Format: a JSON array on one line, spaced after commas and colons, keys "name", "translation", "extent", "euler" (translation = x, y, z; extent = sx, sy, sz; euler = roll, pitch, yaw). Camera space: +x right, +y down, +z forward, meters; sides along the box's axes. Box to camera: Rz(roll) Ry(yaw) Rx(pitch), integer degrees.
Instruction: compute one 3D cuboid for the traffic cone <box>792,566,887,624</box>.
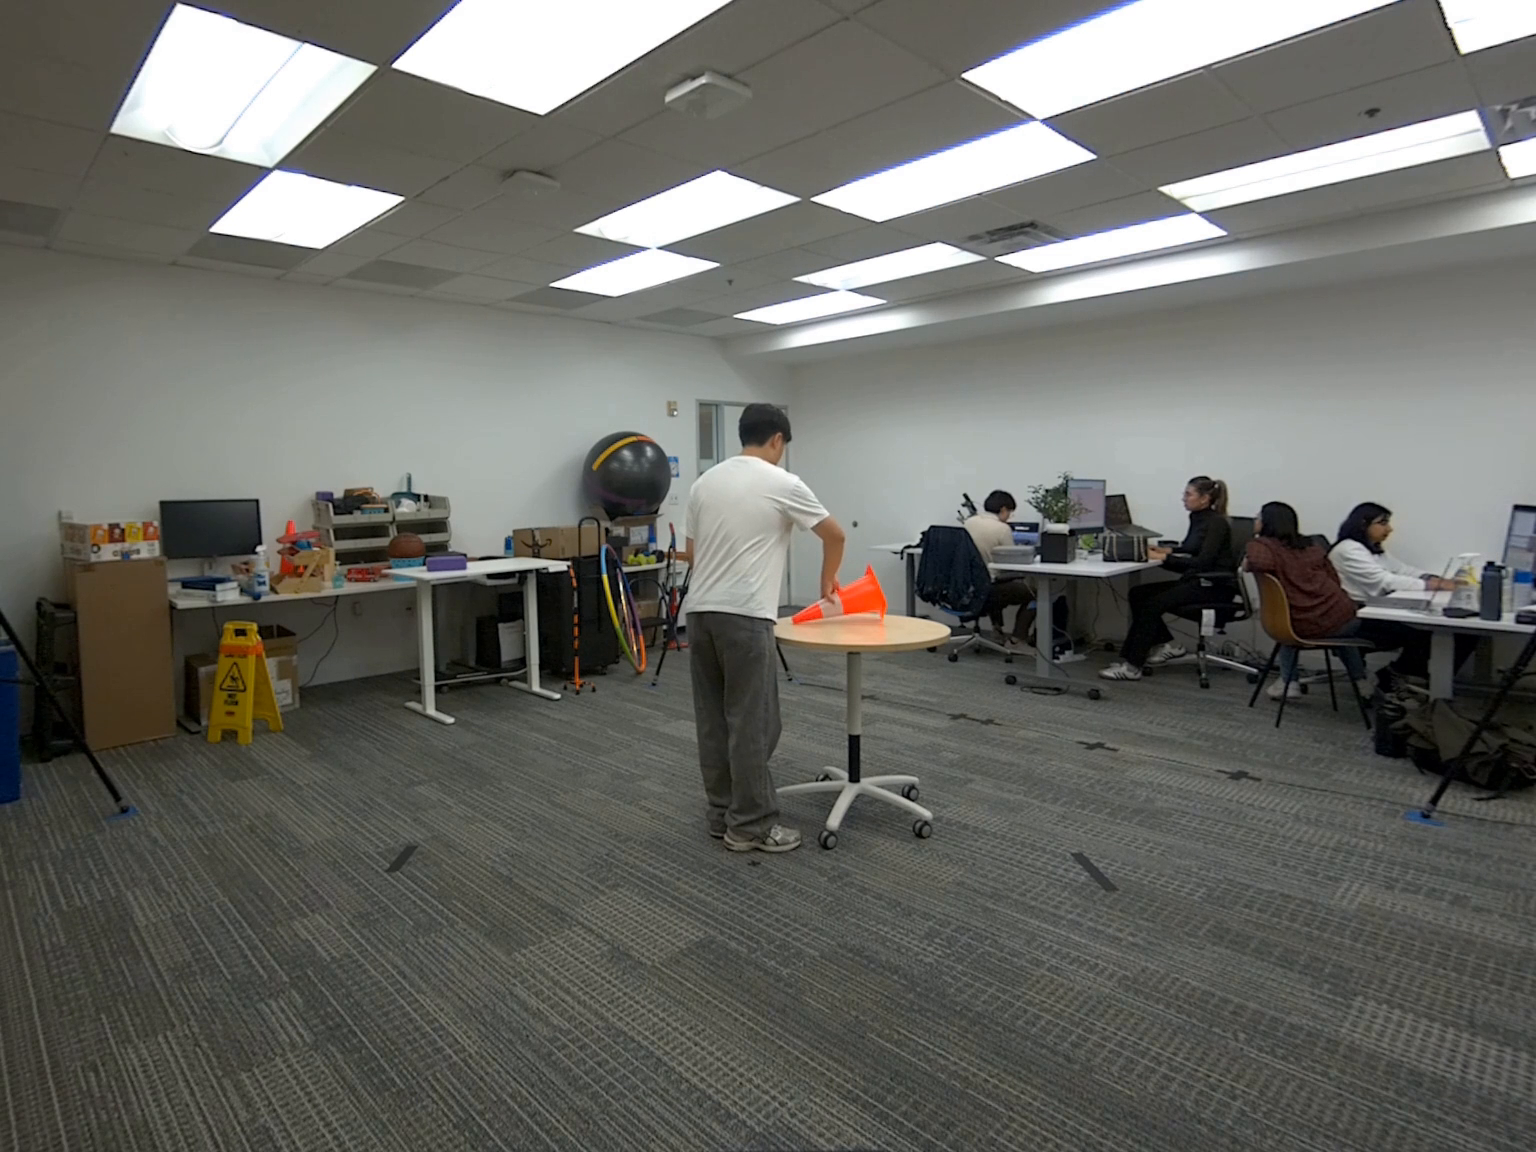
[{"name": "traffic cone", "translation": [0.281, 0.136, 3.636], "extent": [0.382, 0.210, 0.199], "euler": [-20, -20, -7]}]
